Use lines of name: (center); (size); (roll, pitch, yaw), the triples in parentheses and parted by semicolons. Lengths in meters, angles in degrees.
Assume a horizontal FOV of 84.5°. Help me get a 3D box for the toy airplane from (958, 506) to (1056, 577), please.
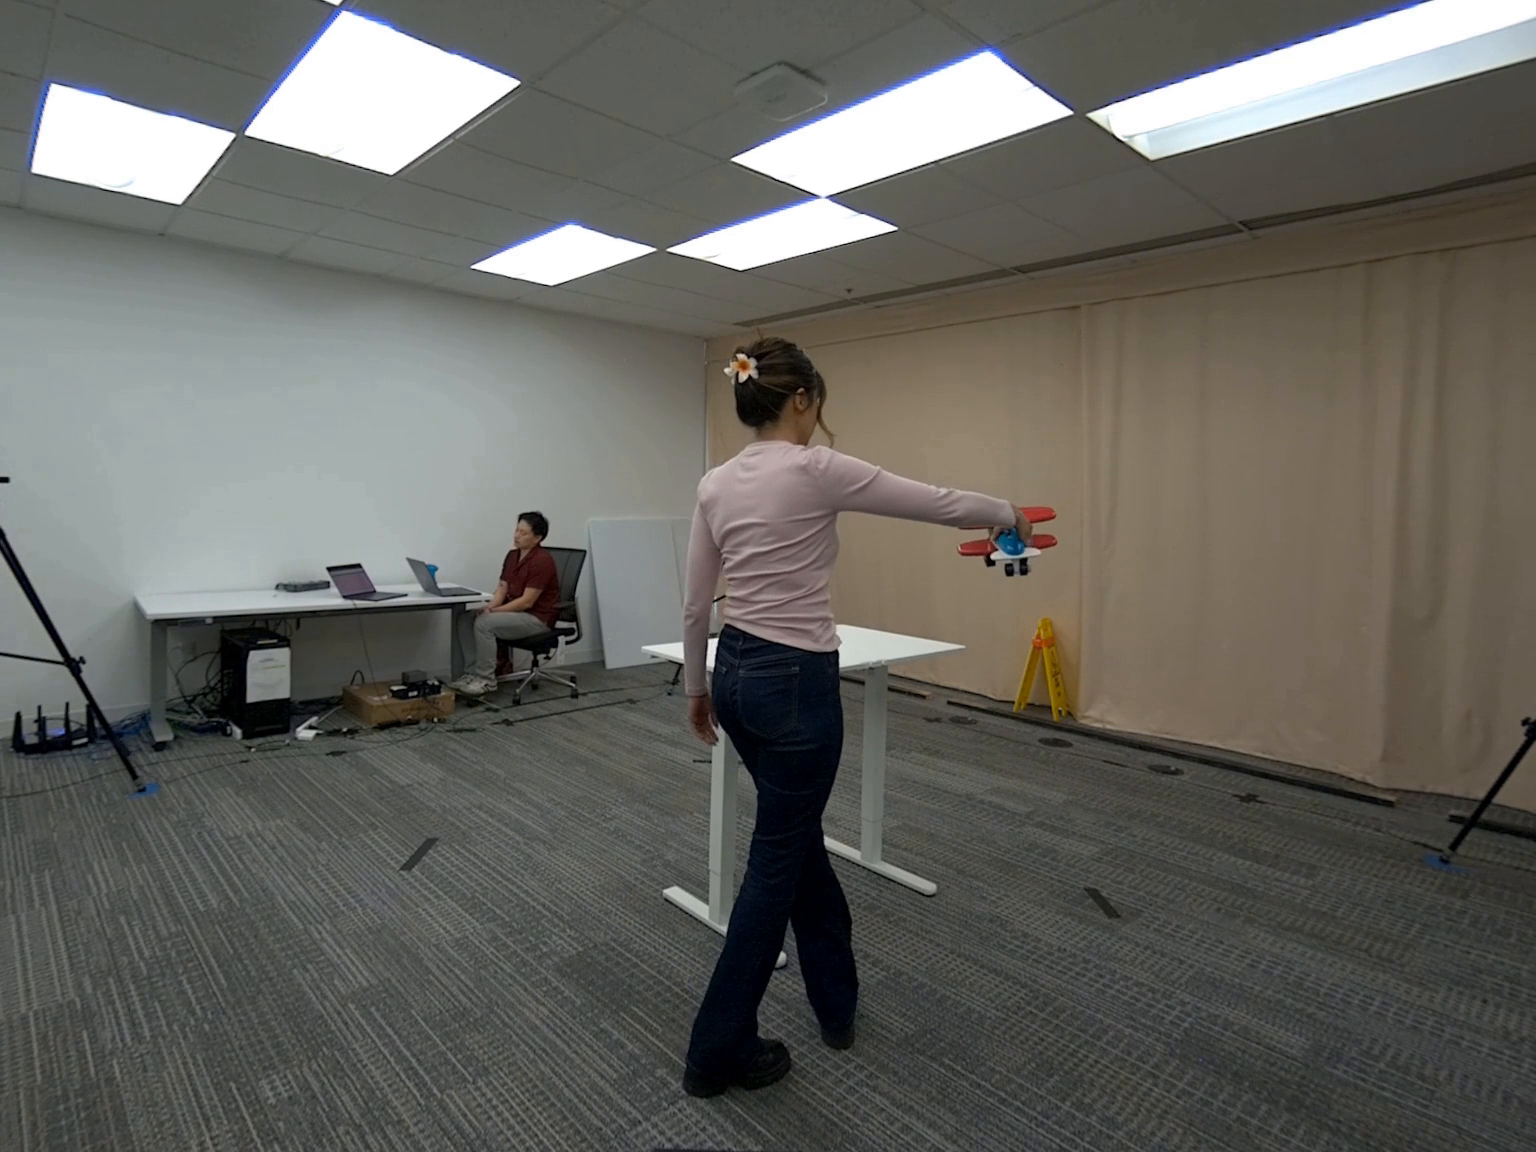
toy airplane: (0.636, -0.094, 2.211); (0.248, 0.155, 0.263); (-11, 8, -17)
